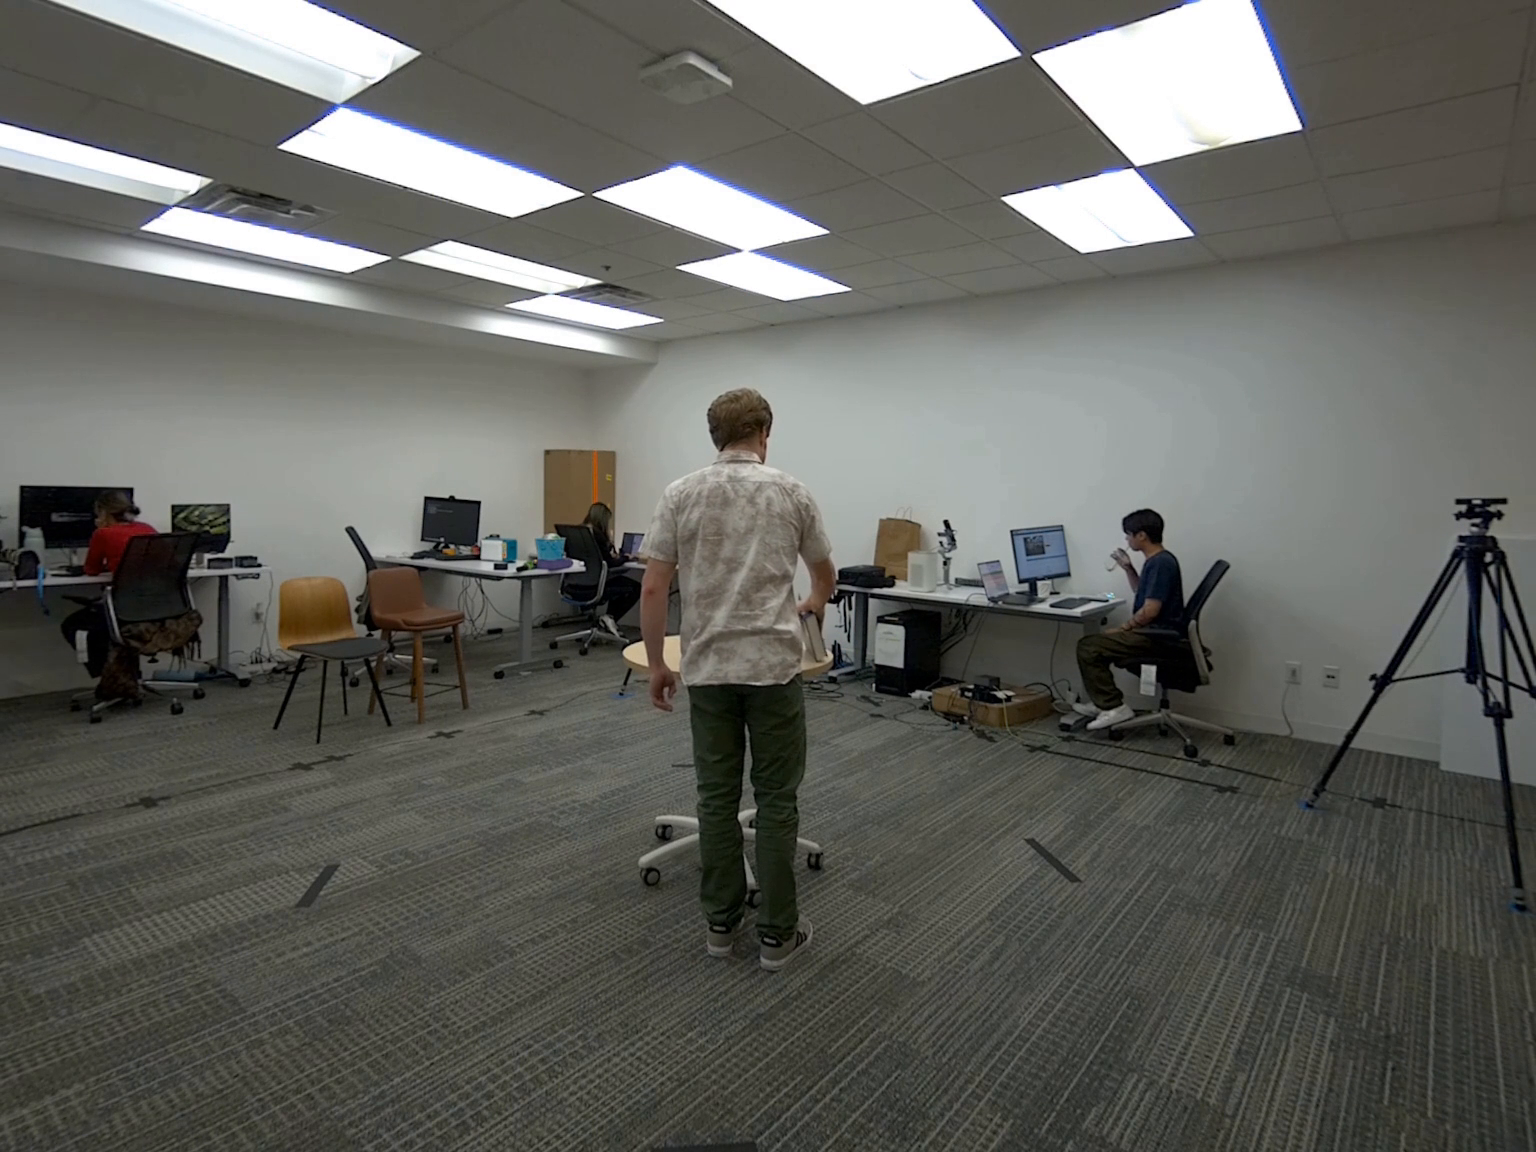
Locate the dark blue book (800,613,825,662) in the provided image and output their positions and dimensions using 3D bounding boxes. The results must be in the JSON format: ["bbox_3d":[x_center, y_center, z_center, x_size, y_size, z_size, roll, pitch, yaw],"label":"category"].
[{"bbox_3d":[0.141,0.201,3.057,0.045,0.163,0.247,-13,5,-6],"label":"dark blue book"}]
